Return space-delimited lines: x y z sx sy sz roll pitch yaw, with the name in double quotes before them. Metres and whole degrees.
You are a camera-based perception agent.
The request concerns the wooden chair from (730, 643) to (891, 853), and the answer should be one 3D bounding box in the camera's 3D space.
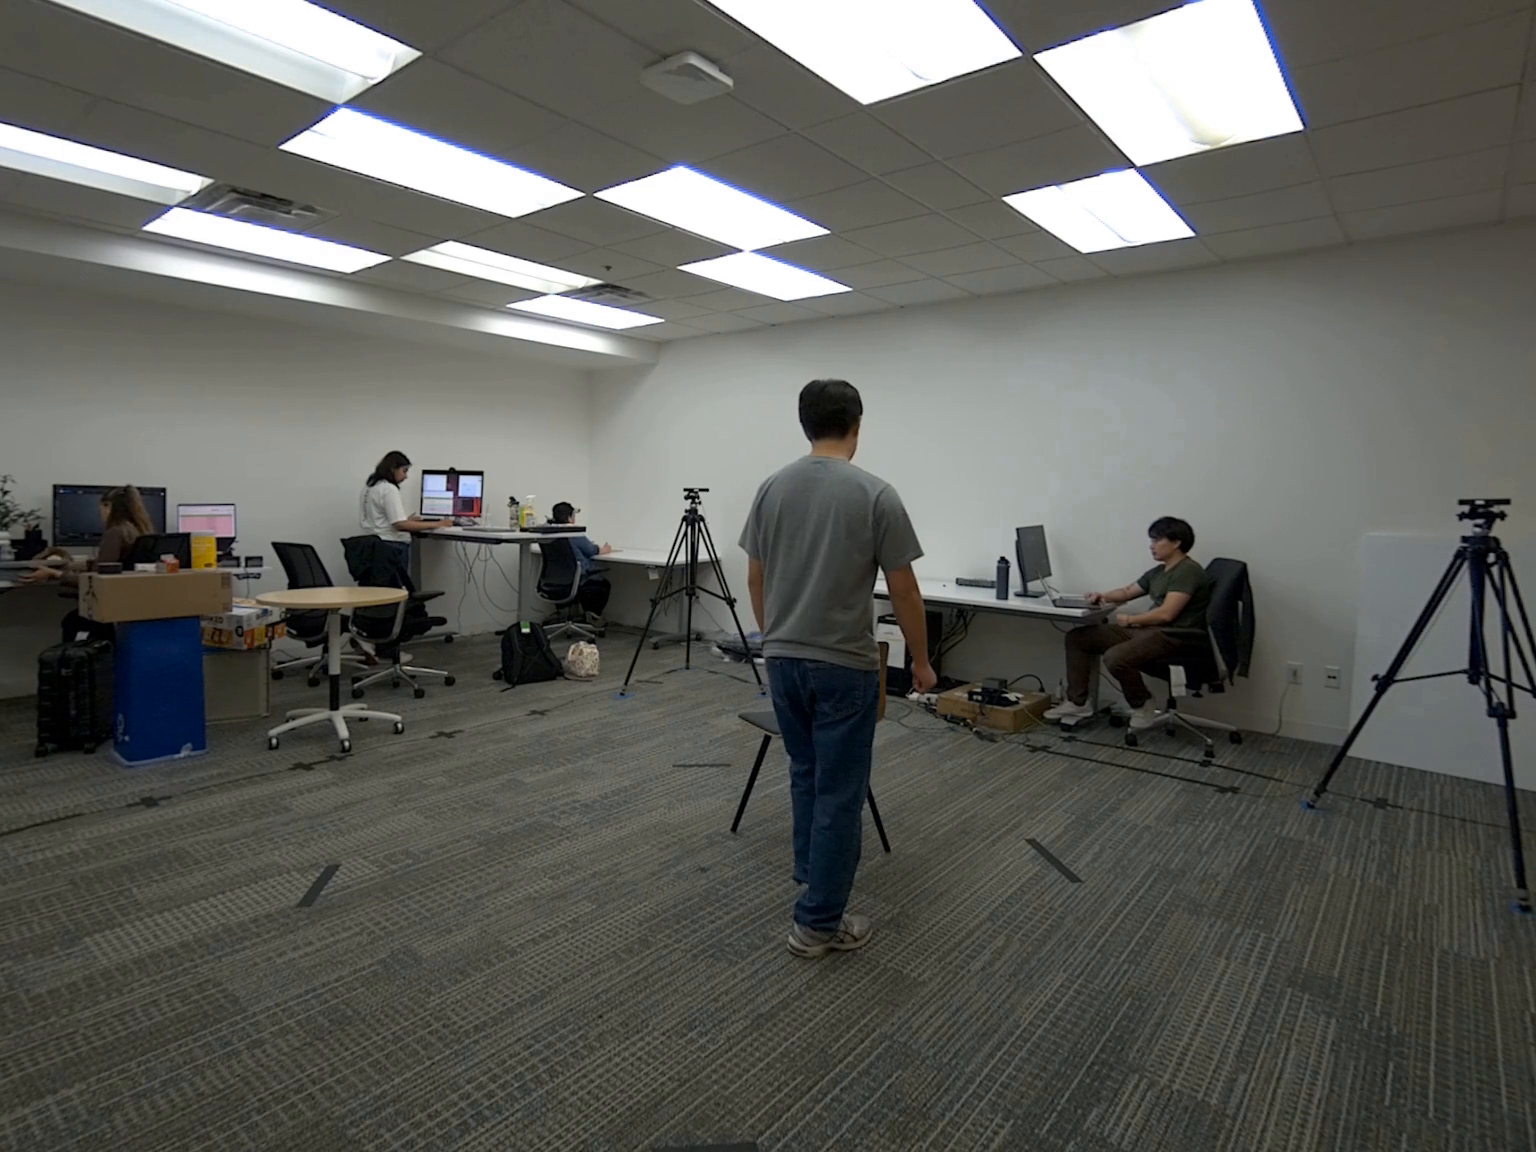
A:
"wooden chair" 0.152 0.622 3.358 0.465 0.872 0.541 -1 8 -32
